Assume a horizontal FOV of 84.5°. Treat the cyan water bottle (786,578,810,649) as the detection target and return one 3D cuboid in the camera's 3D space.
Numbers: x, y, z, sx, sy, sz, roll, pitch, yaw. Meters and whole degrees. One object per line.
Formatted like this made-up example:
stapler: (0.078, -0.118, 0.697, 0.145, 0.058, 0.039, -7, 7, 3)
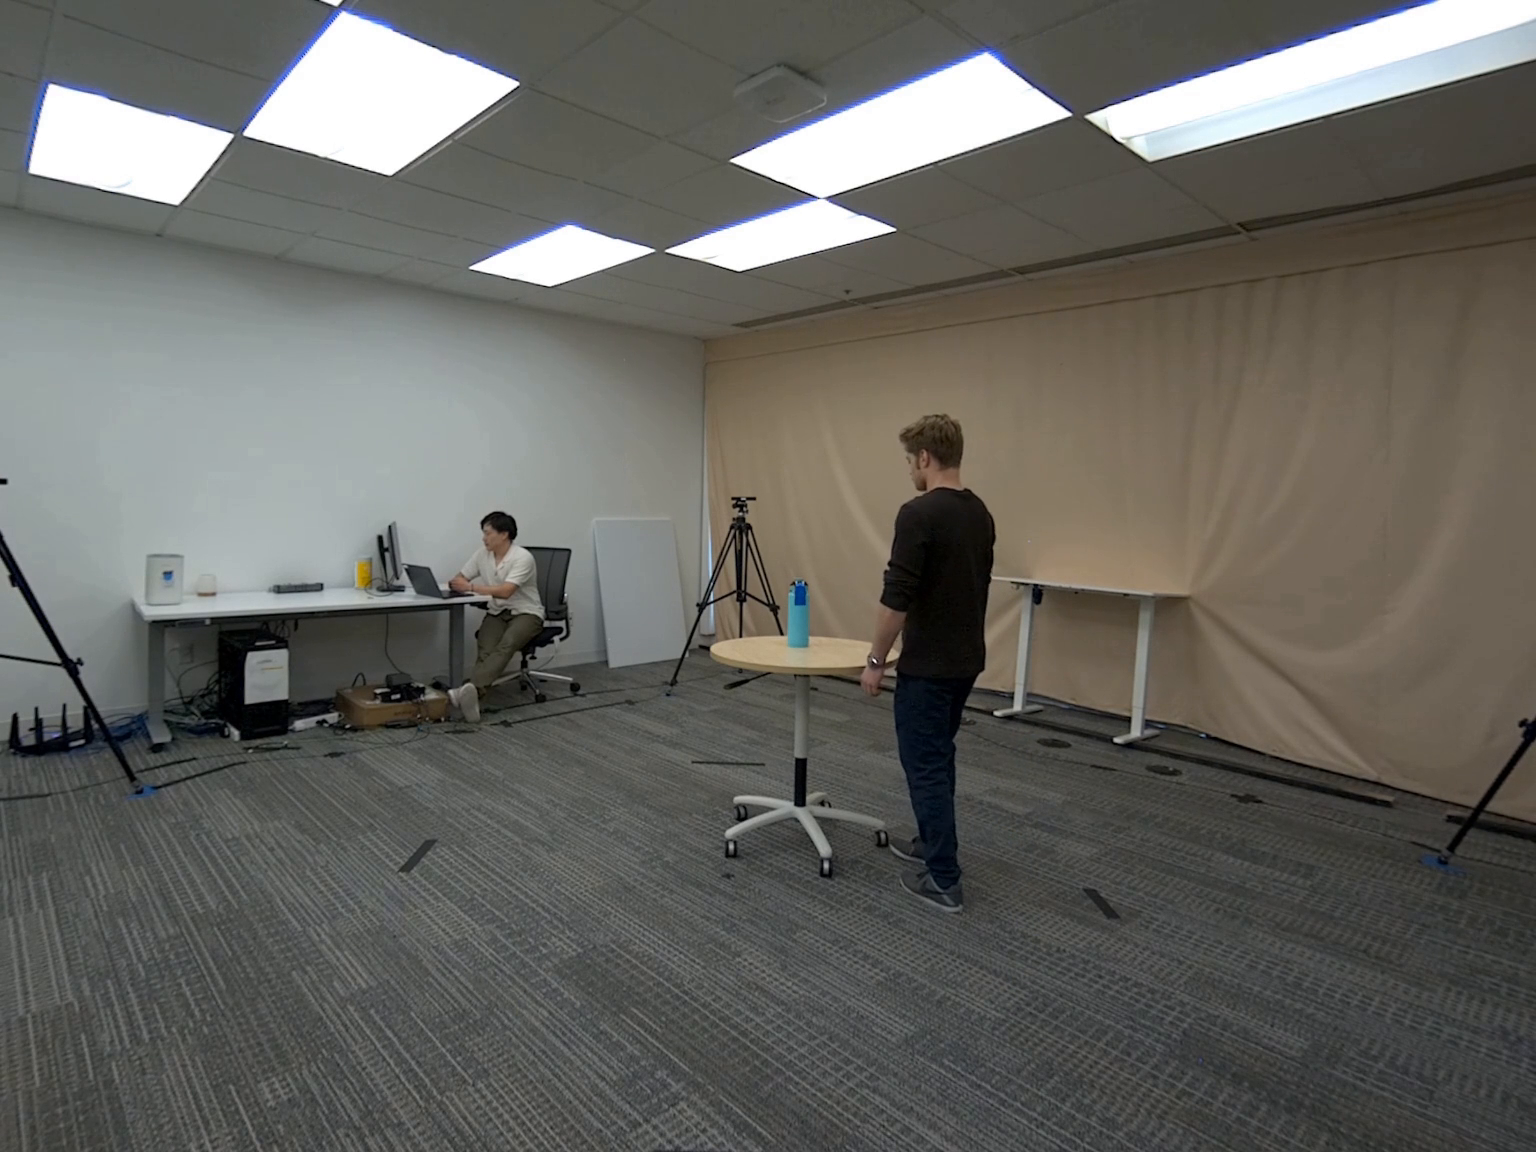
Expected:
cyan water bottle: (0.123, 0.154, 3.541, 0.092, 0.282, 0.093, 2, 4, -2)
